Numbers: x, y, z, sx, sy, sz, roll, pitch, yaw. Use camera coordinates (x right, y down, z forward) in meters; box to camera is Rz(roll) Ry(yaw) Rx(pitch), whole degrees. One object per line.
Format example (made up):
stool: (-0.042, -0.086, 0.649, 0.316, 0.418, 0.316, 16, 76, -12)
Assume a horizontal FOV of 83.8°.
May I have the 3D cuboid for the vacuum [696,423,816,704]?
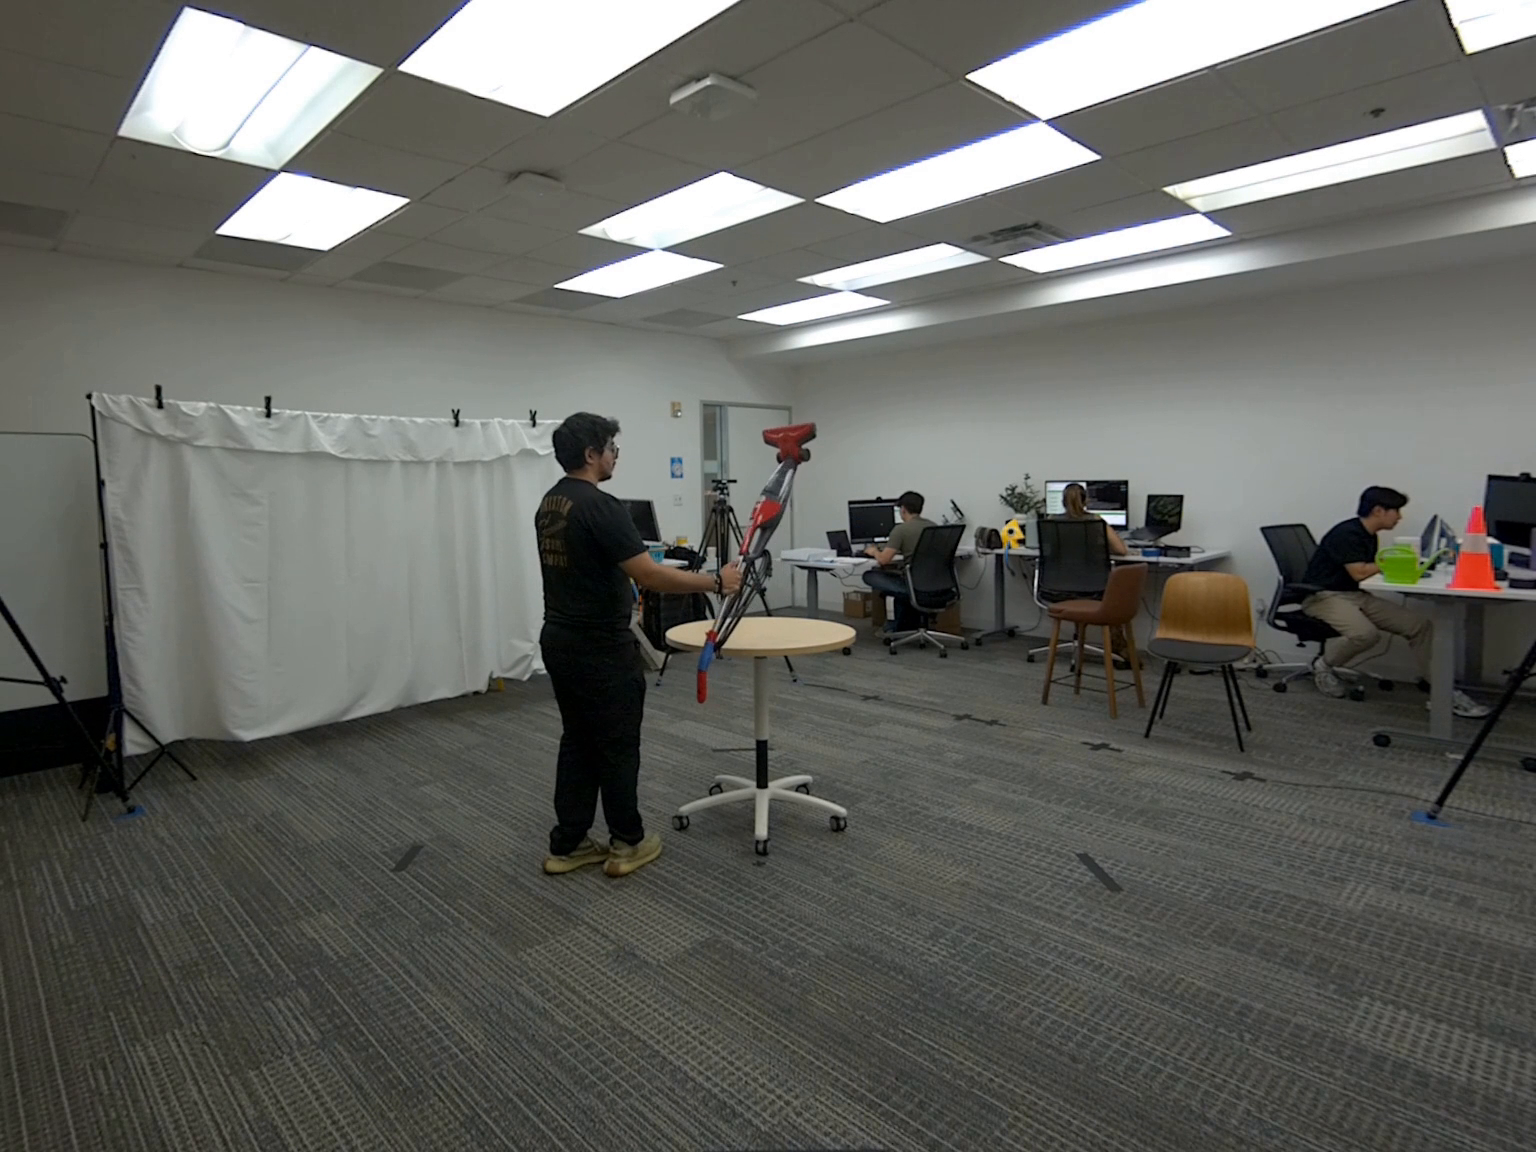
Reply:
vacuum: (-0.061, -0.066, 3.103, 0.260, 1.060, 0.138, -1, -29, 42)
